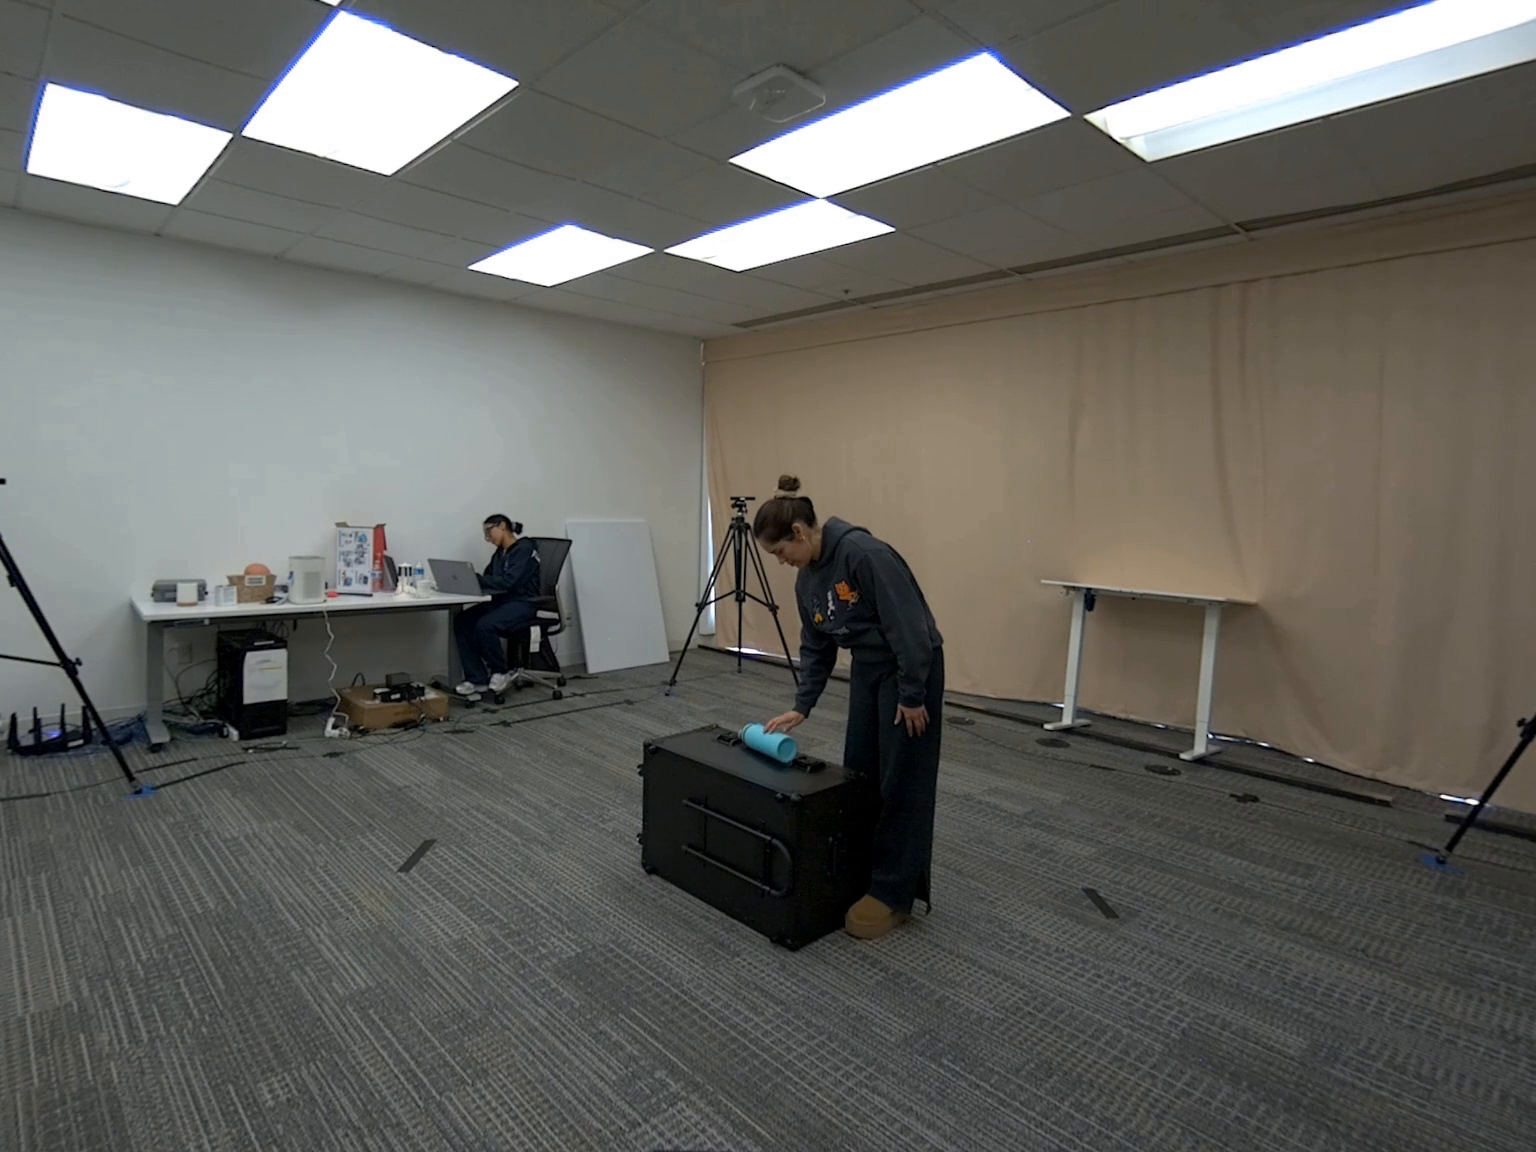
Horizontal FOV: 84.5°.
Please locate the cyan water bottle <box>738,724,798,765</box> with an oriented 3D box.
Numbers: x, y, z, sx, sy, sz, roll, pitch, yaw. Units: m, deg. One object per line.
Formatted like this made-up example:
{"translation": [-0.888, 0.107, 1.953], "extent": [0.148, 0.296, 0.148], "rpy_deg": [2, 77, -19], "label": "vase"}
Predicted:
{"translation": [-0.014, 0.584, 3.006], "extent": [0.090, 0.092, 0.289], "rpy_deg": [-2, 3, -31], "label": "cyan water bottle"}
